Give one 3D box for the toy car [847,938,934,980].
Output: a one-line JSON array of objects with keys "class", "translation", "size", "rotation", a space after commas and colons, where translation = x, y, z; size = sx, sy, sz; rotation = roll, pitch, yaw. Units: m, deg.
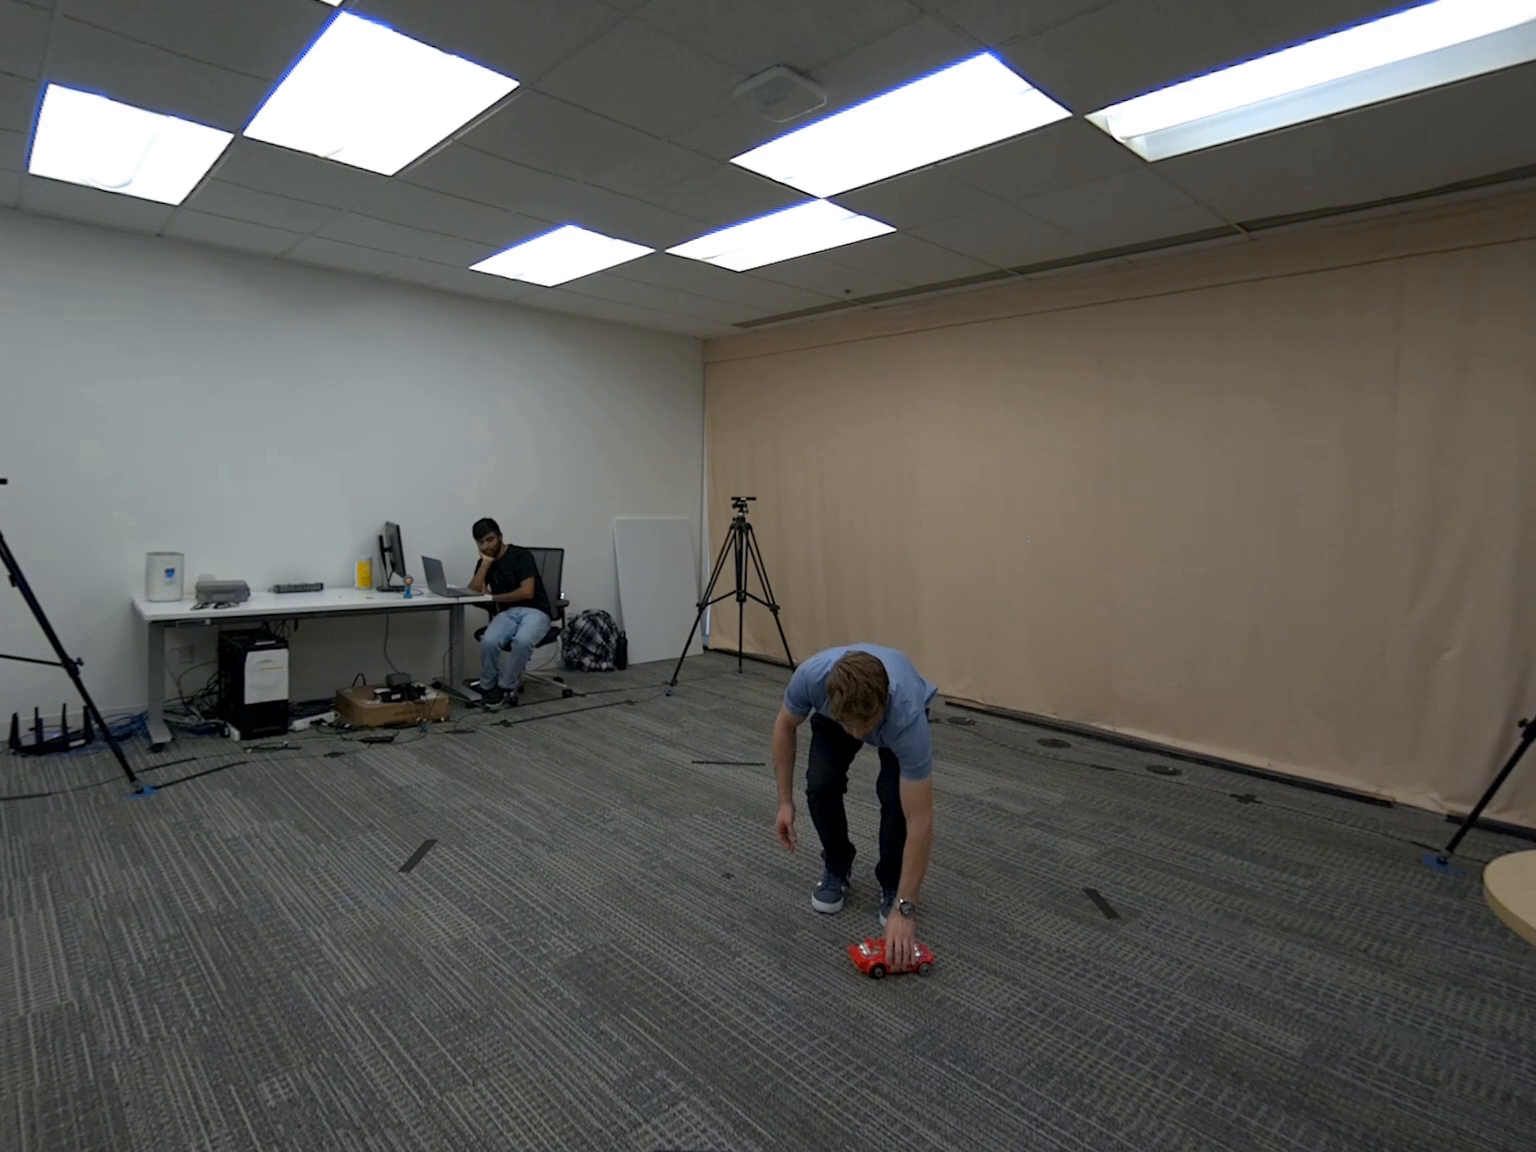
[{"class": "toy car", "translation": [0.349, 1.141, 2.519], "size": [0.252, 0.083, 0.132], "rotation": [11, 3, -12]}]
